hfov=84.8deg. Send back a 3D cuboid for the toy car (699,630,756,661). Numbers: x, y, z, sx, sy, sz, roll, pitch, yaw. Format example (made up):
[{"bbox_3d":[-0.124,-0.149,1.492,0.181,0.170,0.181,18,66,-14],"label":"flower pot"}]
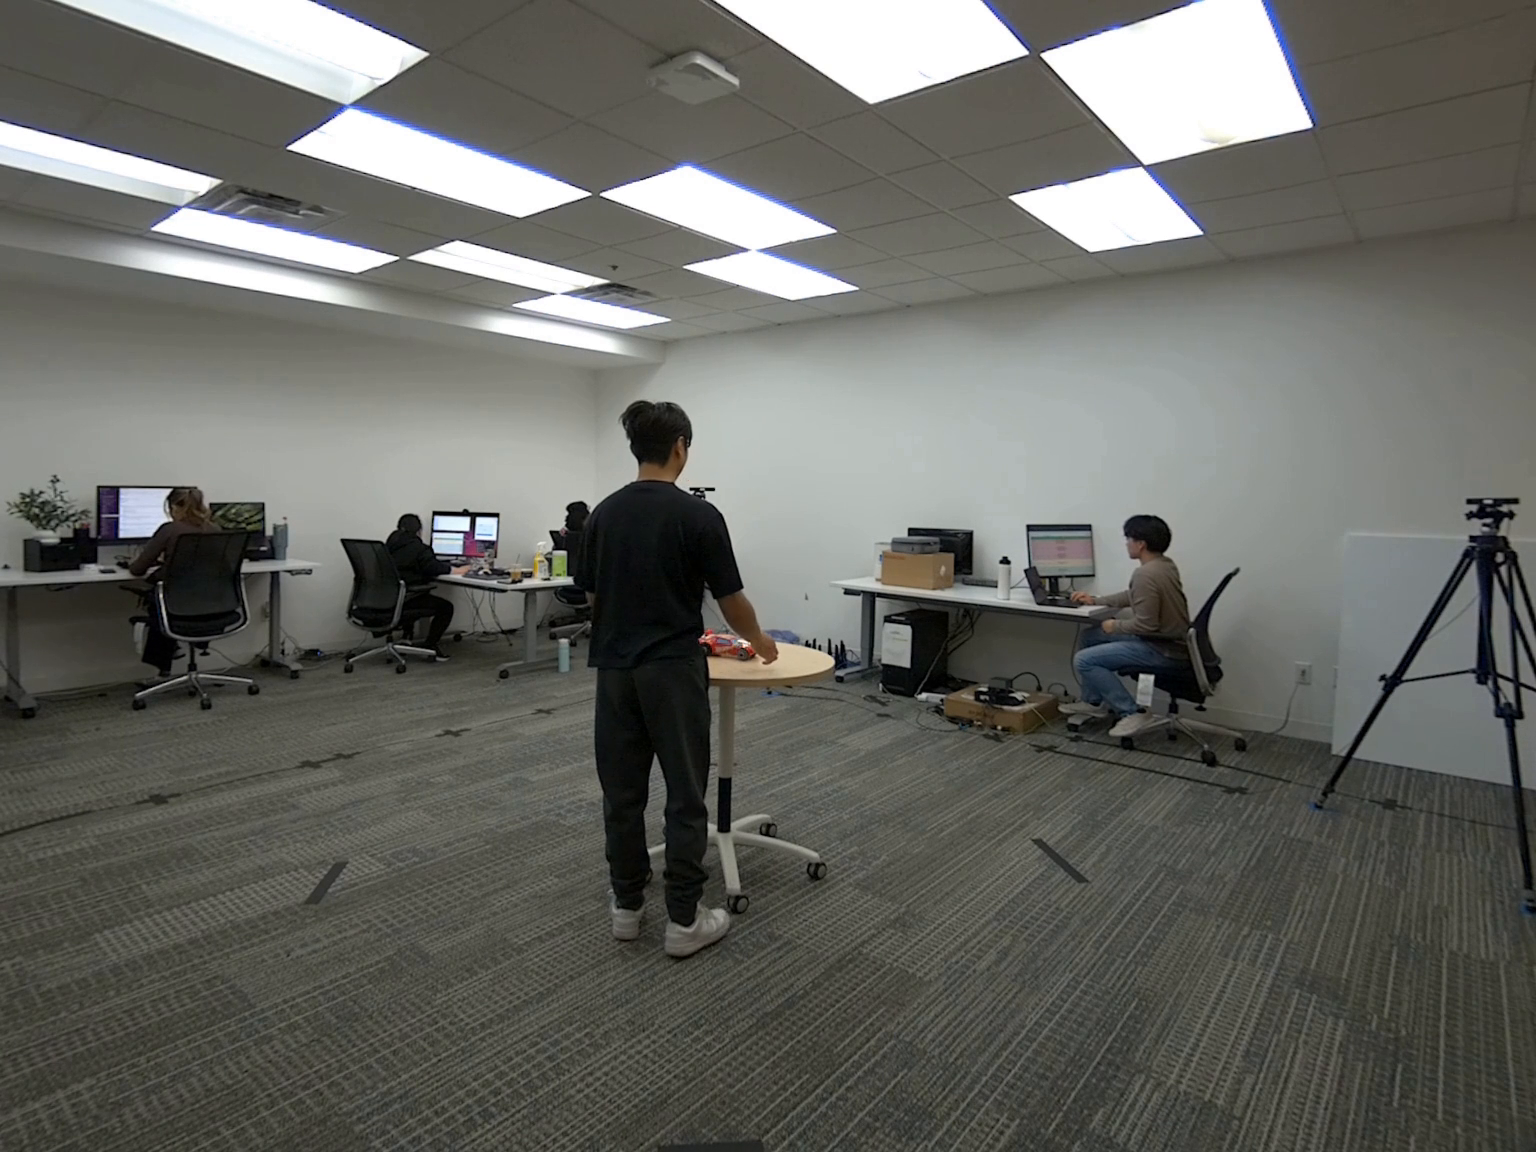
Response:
[{"bbox_3d":[-0.170,0.257,3.091,0.261,0.083,0.128,15,9,21],"label":"toy car"}]
